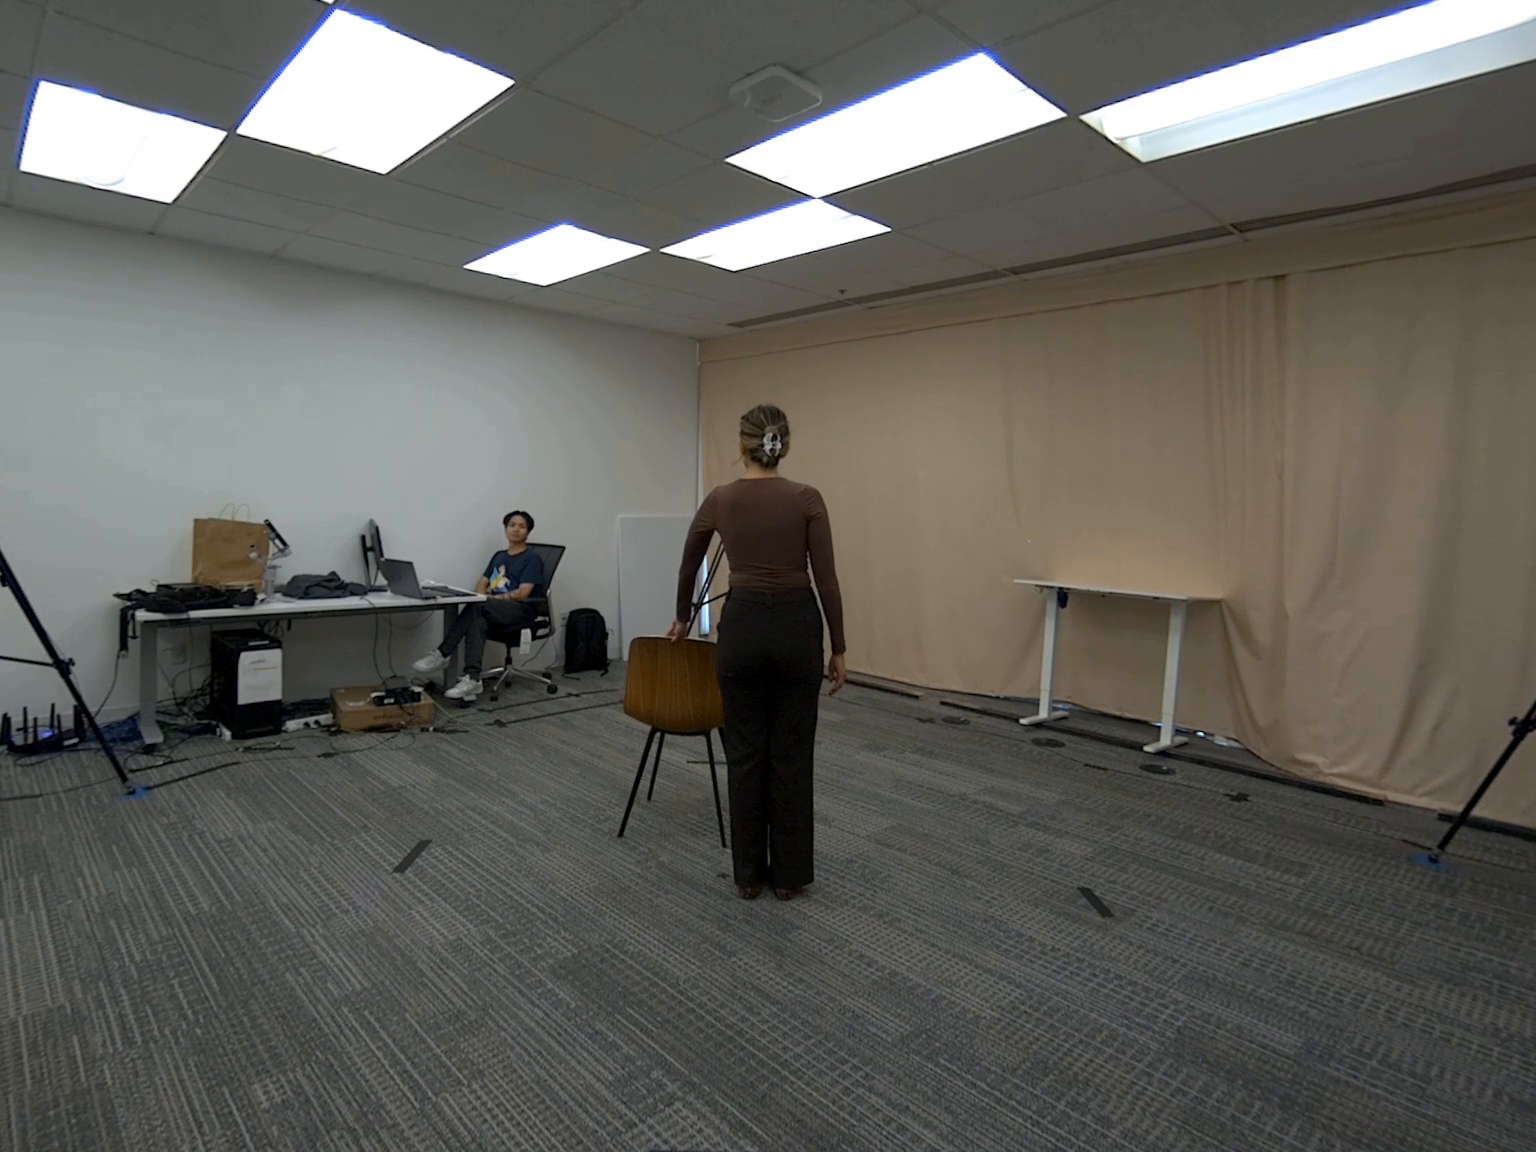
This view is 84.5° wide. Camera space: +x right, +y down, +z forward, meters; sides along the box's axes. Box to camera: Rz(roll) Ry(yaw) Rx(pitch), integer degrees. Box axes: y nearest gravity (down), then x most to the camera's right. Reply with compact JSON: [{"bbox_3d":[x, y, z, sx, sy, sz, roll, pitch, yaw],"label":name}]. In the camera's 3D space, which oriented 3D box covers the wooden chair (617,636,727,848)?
[{"bbox_3d":[-0.358,0.630,3.584,0.482,0.872,0.522,2,8,9],"label":"wooden chair"}]
